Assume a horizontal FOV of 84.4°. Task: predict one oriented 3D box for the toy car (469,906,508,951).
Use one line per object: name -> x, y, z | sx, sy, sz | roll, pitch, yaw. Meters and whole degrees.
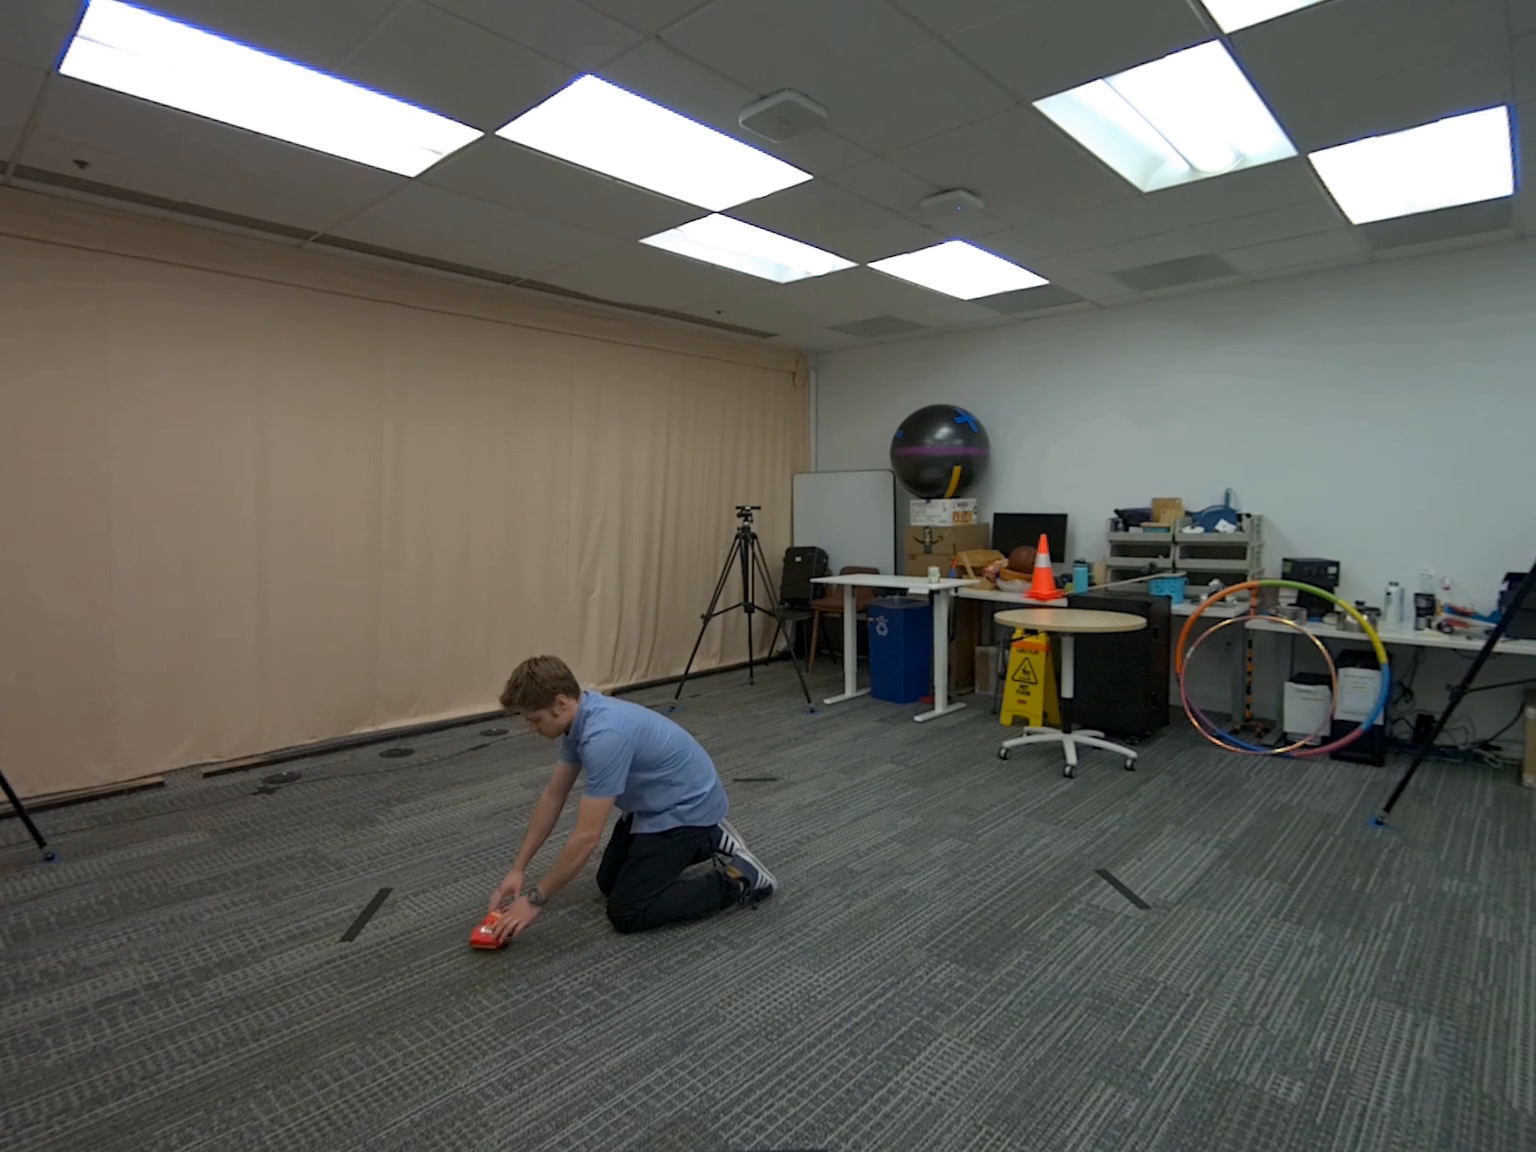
toy car -> -0.872, 1.143, 2.732 | 0.131, 0.083, 0.251 | 1, -7, 8
